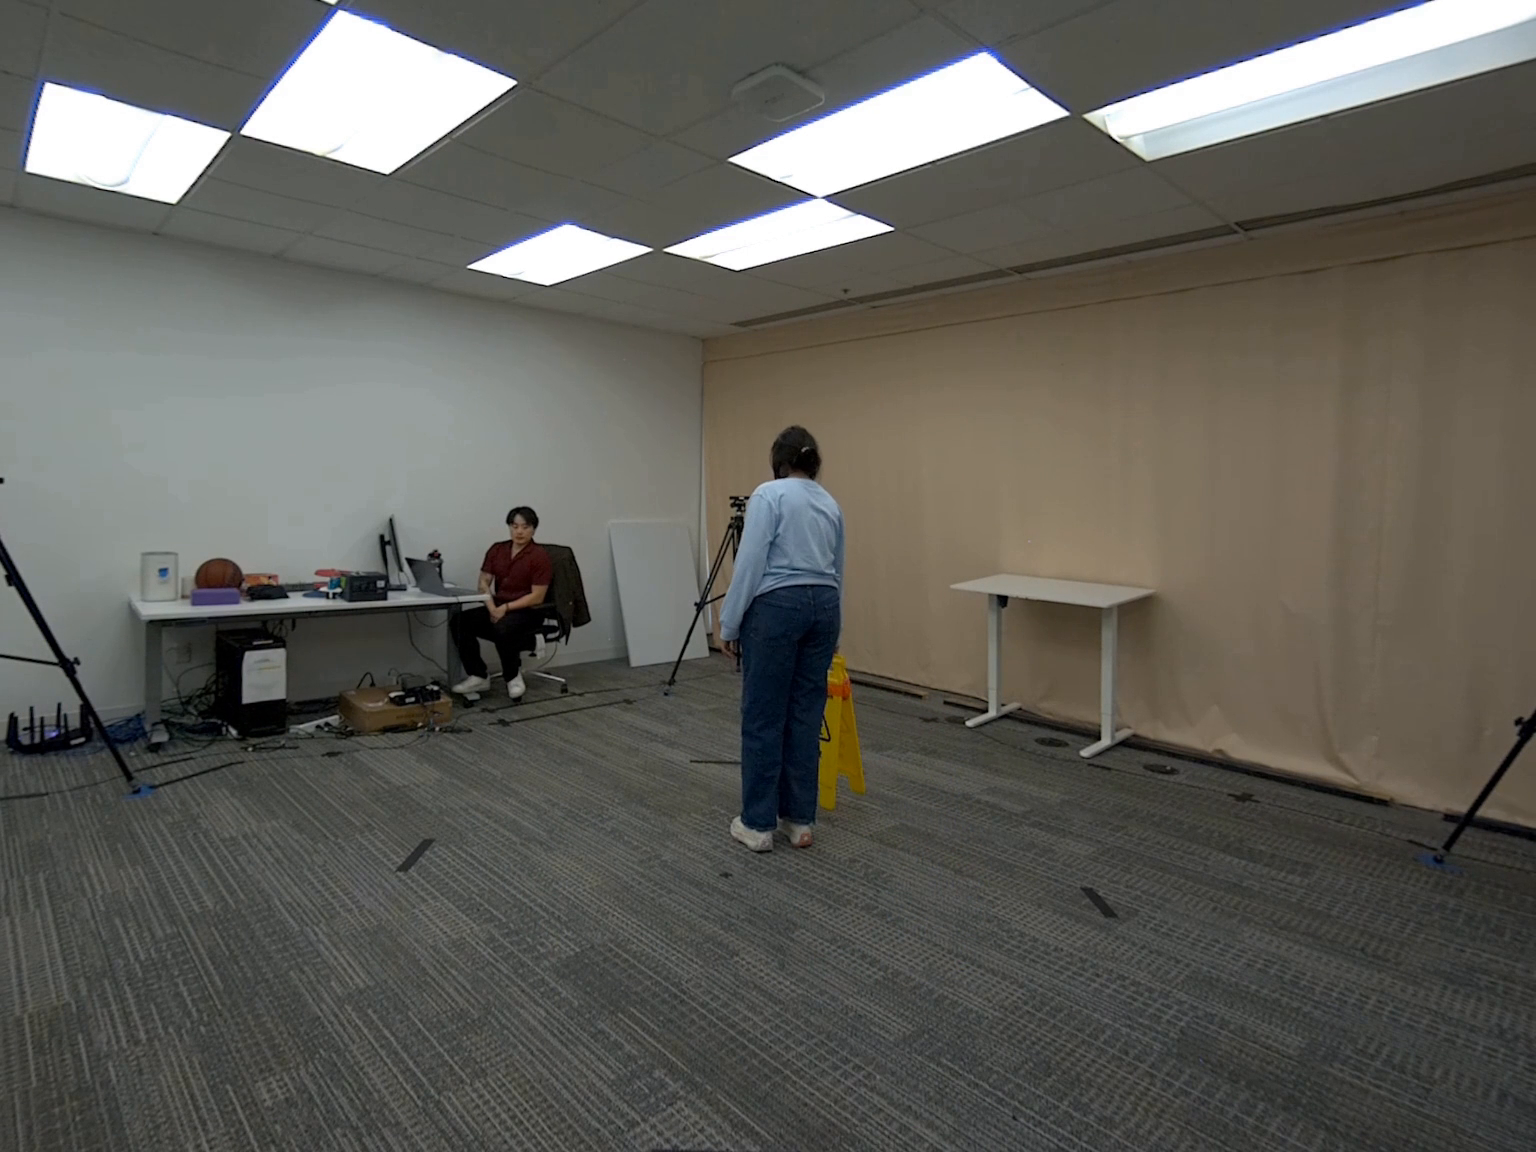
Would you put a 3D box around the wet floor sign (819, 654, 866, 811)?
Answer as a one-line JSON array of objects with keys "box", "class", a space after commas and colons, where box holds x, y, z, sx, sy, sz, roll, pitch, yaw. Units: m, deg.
[{"box": [0.252, 0.673, 3.796, 0.289, 0.644, 0.283, 5, 7, 43], "class": "wet floor sign"}]
